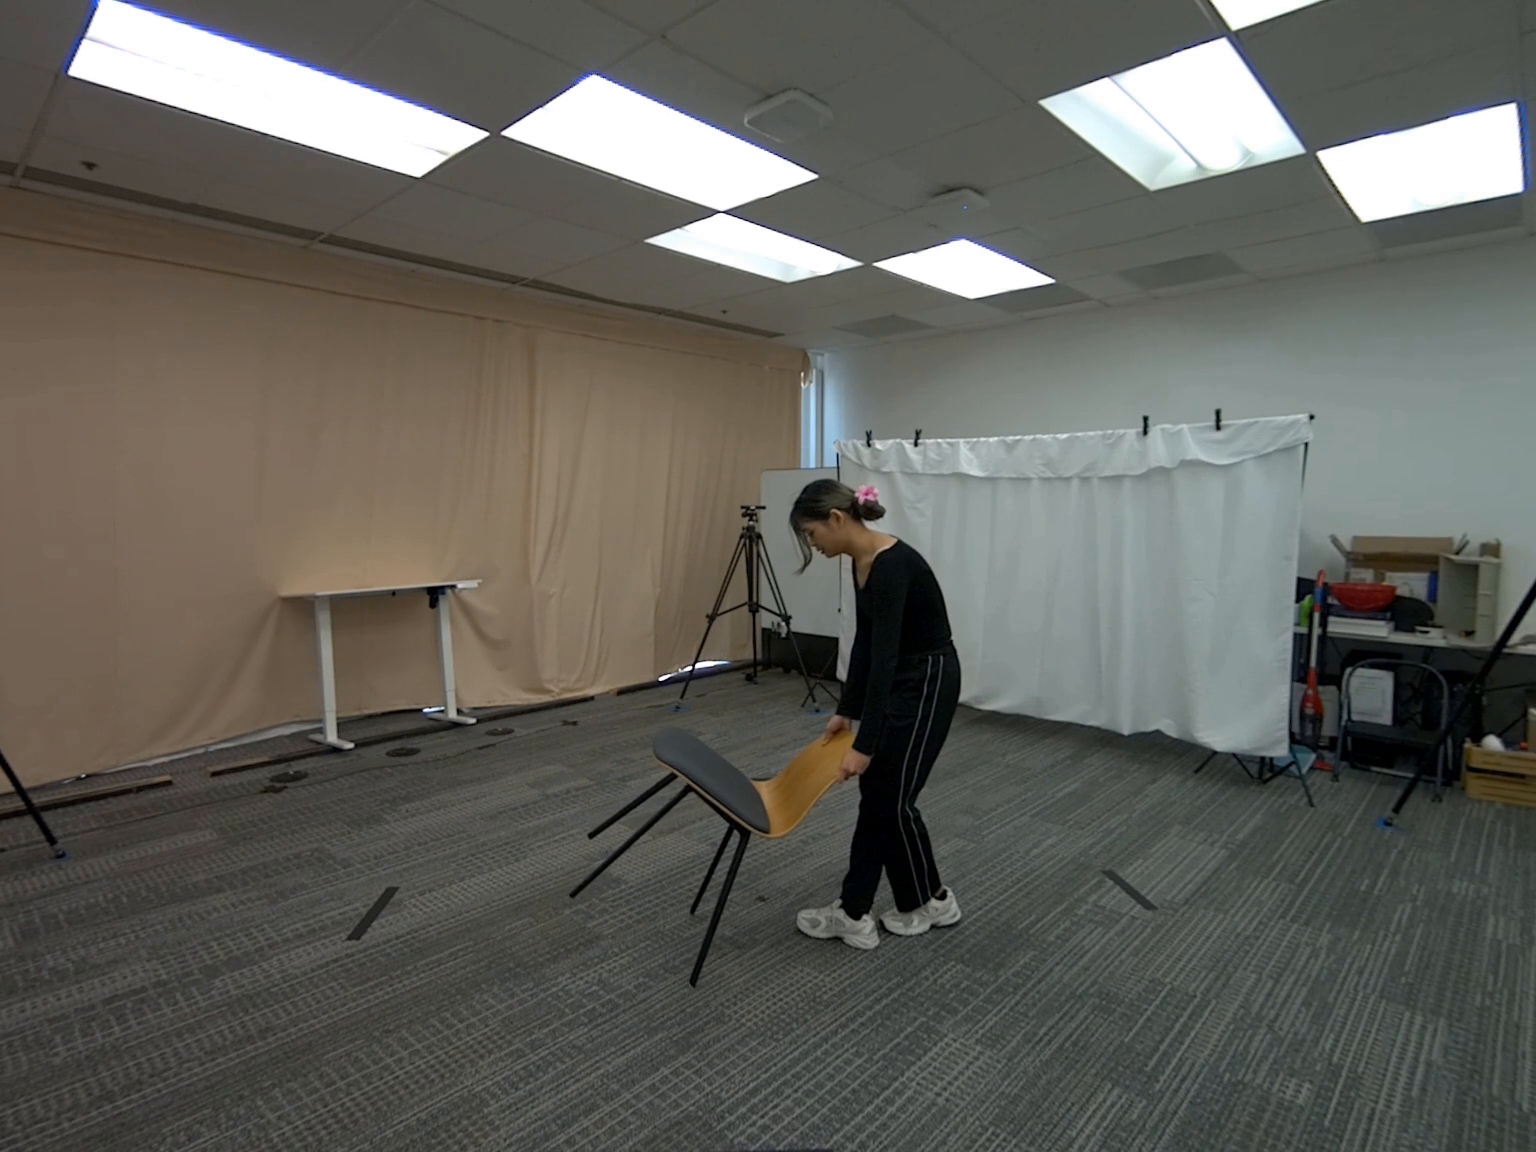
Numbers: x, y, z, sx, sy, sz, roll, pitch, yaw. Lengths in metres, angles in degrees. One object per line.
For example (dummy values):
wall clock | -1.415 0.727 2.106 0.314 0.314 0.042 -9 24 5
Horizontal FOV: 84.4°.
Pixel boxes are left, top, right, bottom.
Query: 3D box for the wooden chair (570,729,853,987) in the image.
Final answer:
wooden chair | -0.159 0.697 2.626 0.521 0.877 0.480 43 1 -4
